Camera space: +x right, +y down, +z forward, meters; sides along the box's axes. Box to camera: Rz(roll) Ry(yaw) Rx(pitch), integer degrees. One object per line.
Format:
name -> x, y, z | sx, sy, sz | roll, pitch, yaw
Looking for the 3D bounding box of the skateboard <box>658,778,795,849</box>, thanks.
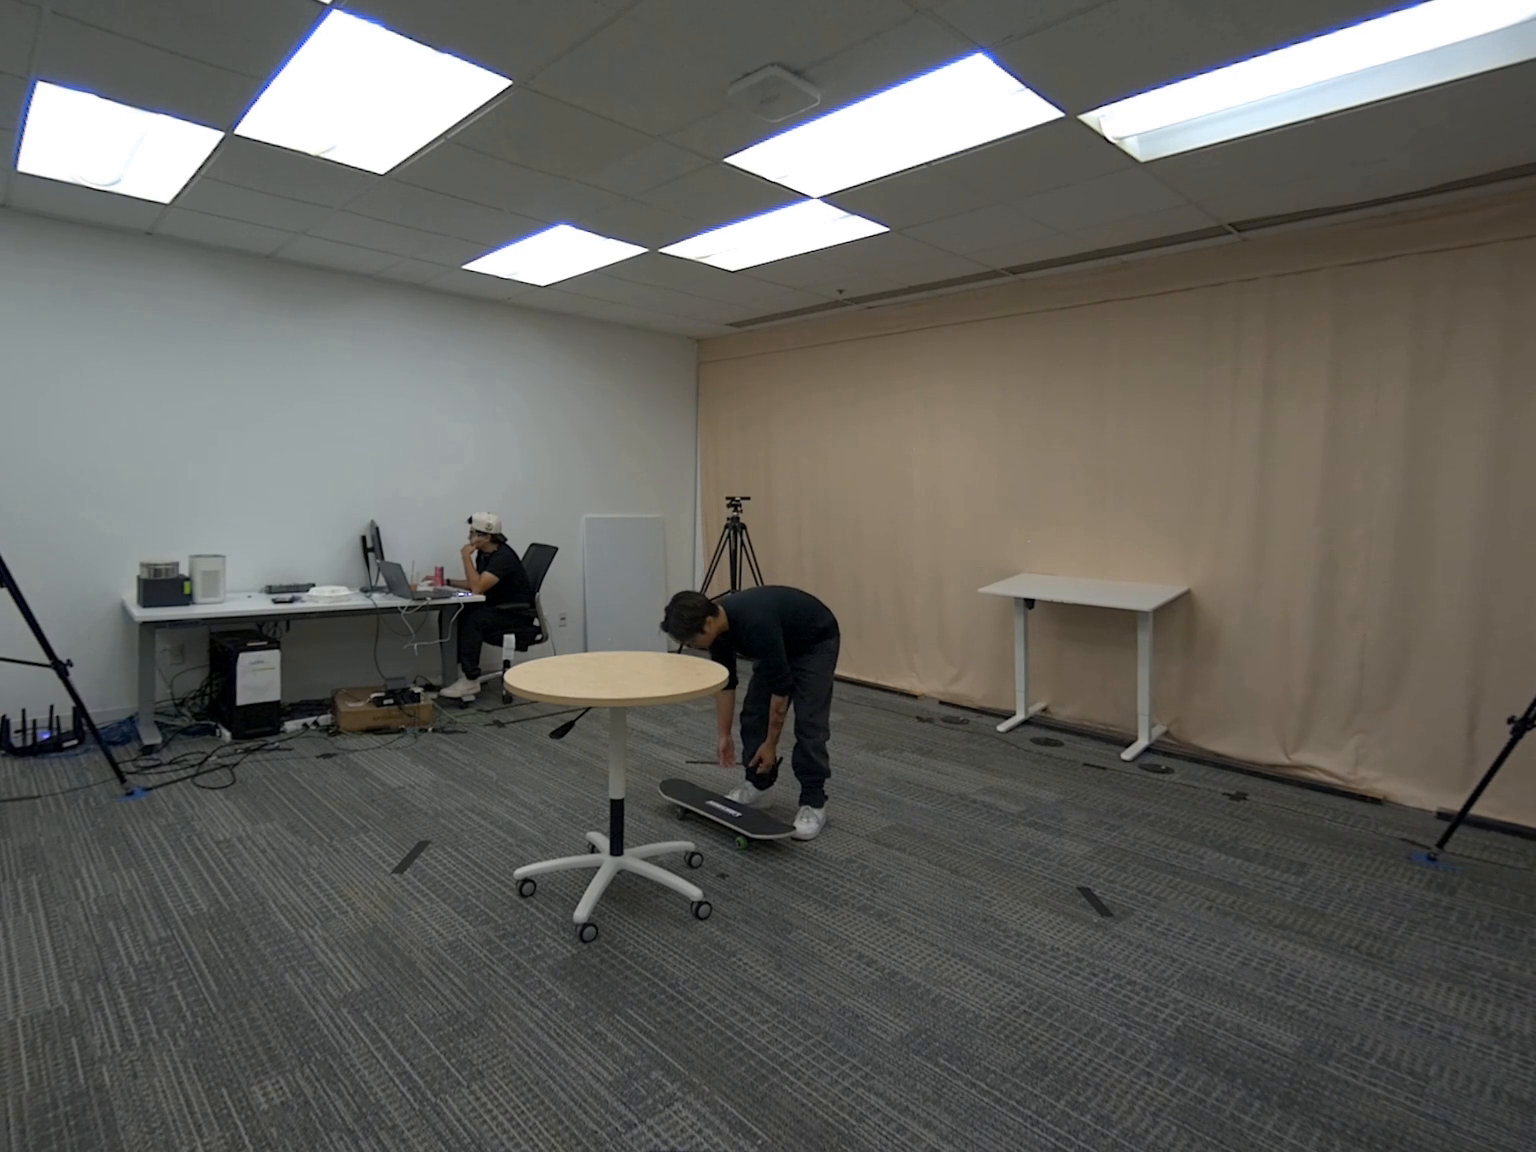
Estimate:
skateboard -> -0.196, 1.011, 3.552 | 0.189, 0.110, 0.806 | -2, 6, -42
